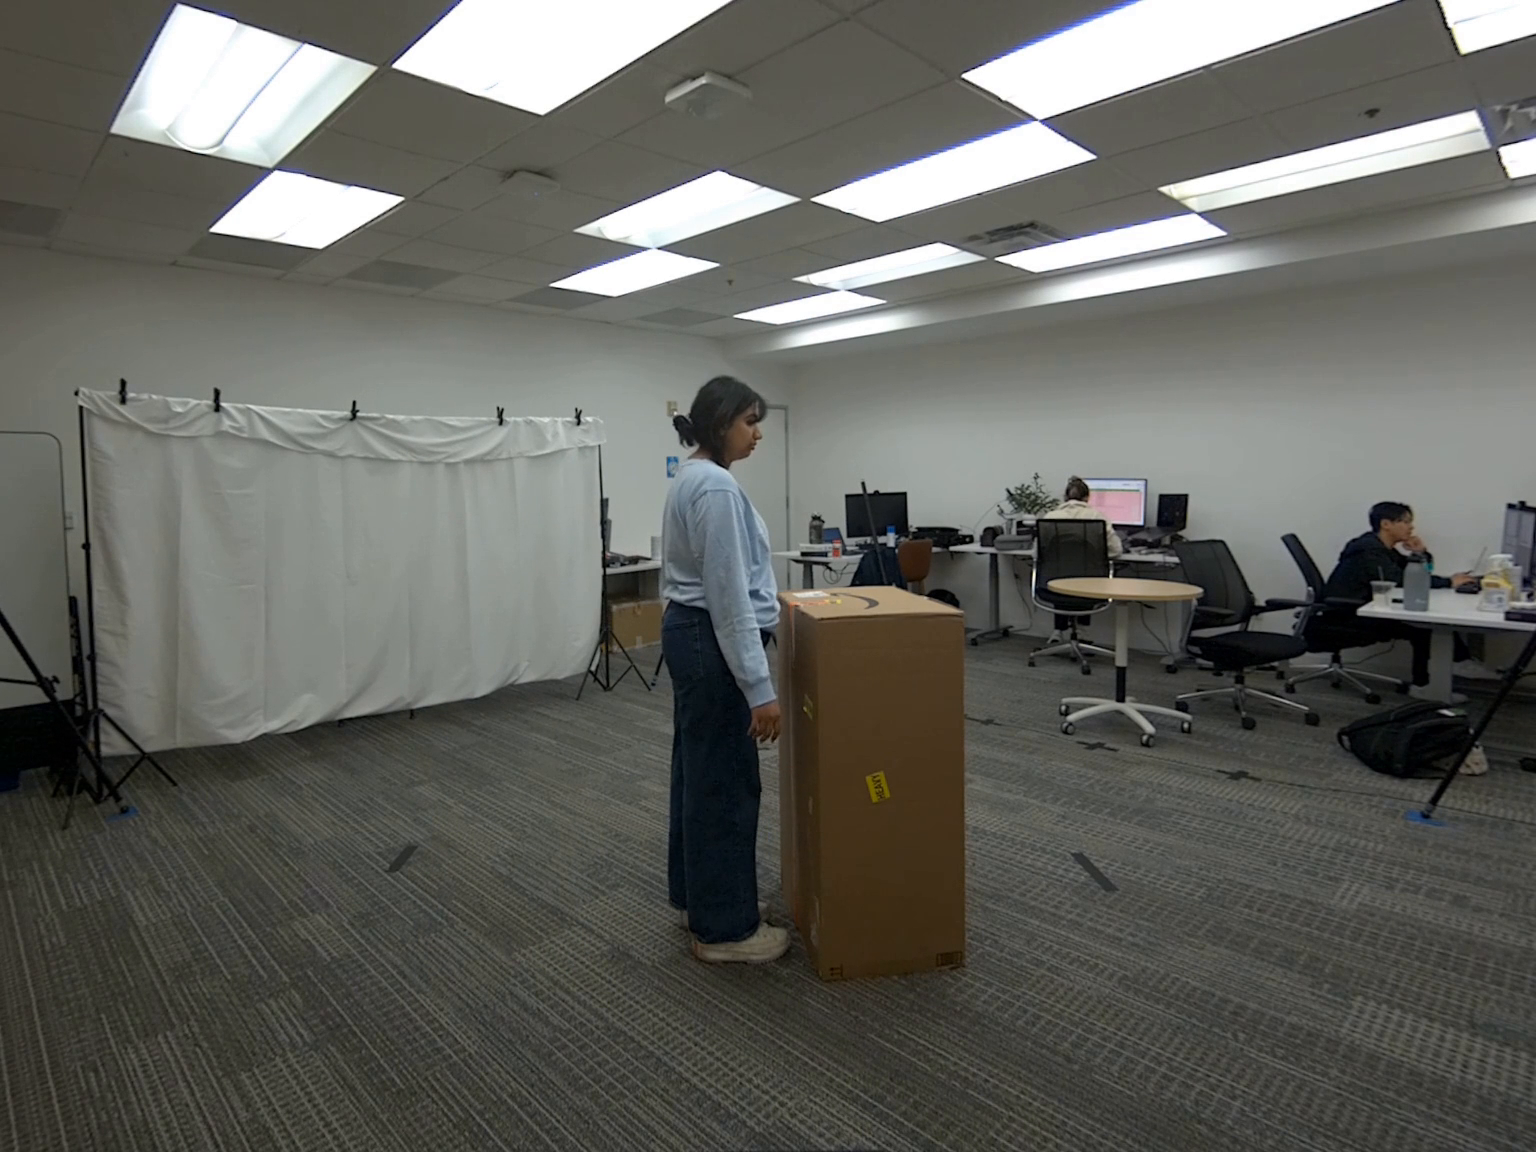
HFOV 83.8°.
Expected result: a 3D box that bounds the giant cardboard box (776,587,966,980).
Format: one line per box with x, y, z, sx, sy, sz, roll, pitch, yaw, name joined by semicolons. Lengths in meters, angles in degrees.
0.298;0.582;2.649;0.443;1.023;0.591;-2;5;-9;giant cardboard box
